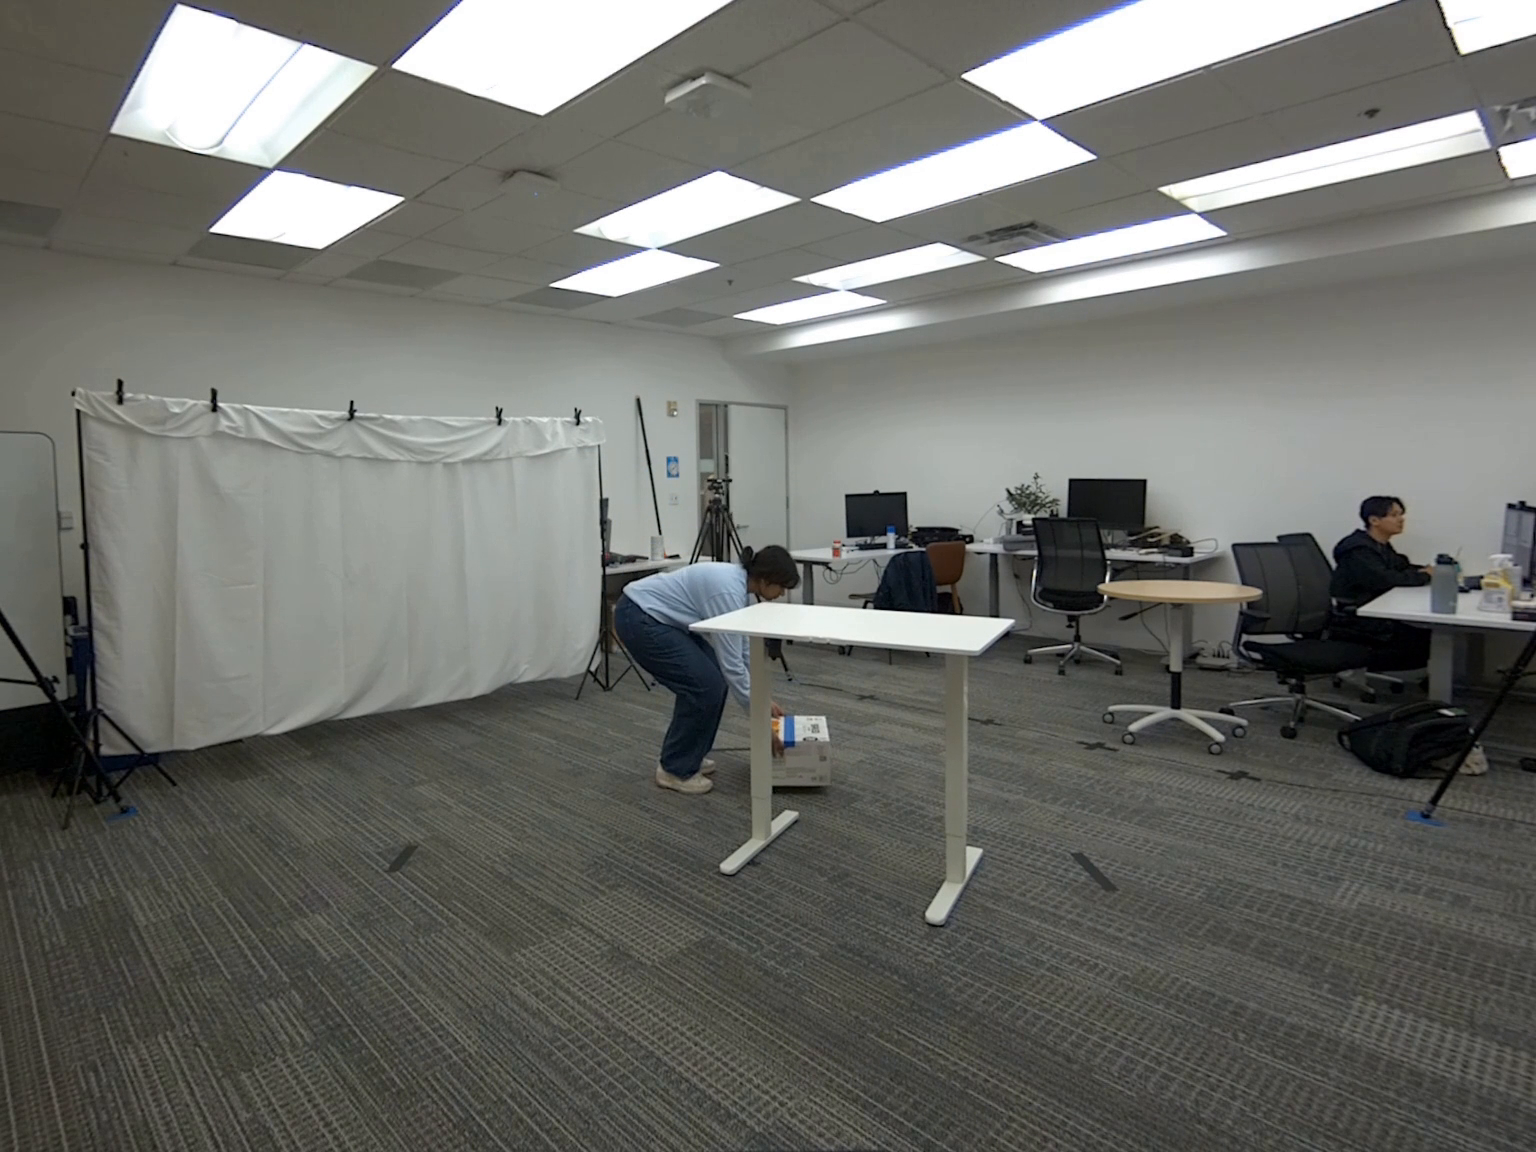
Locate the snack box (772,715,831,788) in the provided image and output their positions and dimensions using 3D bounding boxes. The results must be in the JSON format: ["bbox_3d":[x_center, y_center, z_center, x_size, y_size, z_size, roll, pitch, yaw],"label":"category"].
[{"bbox_3d":[0.101,0.800,3.955,0.341,0.205,0.406,-2,6,2],"label":"snack box"}]
